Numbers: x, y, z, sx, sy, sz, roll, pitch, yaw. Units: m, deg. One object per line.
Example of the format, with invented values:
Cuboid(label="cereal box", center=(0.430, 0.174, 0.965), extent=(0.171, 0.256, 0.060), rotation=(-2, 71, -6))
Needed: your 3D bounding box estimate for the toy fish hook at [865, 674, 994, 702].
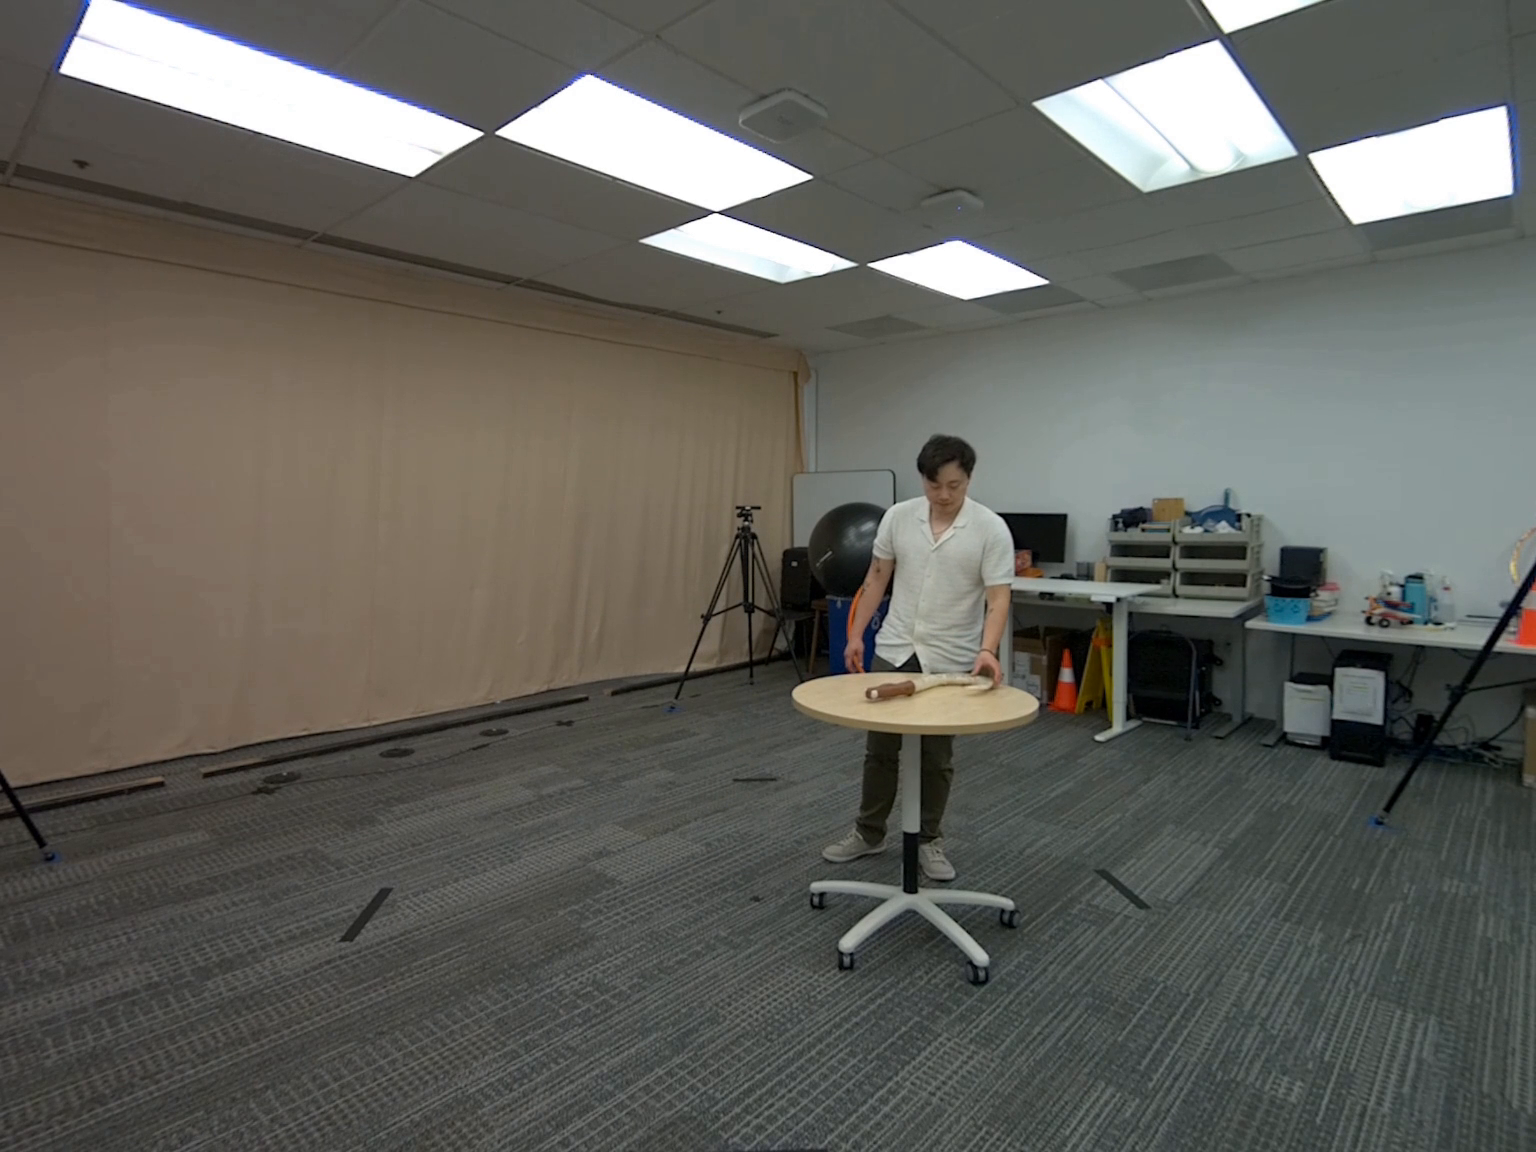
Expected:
Cuboid(label="toy fish hook", center=(0.529, 0.360, 2.691), extent=(0.491, 0.048, 0.231), rotation=(-3, -4, -39))
